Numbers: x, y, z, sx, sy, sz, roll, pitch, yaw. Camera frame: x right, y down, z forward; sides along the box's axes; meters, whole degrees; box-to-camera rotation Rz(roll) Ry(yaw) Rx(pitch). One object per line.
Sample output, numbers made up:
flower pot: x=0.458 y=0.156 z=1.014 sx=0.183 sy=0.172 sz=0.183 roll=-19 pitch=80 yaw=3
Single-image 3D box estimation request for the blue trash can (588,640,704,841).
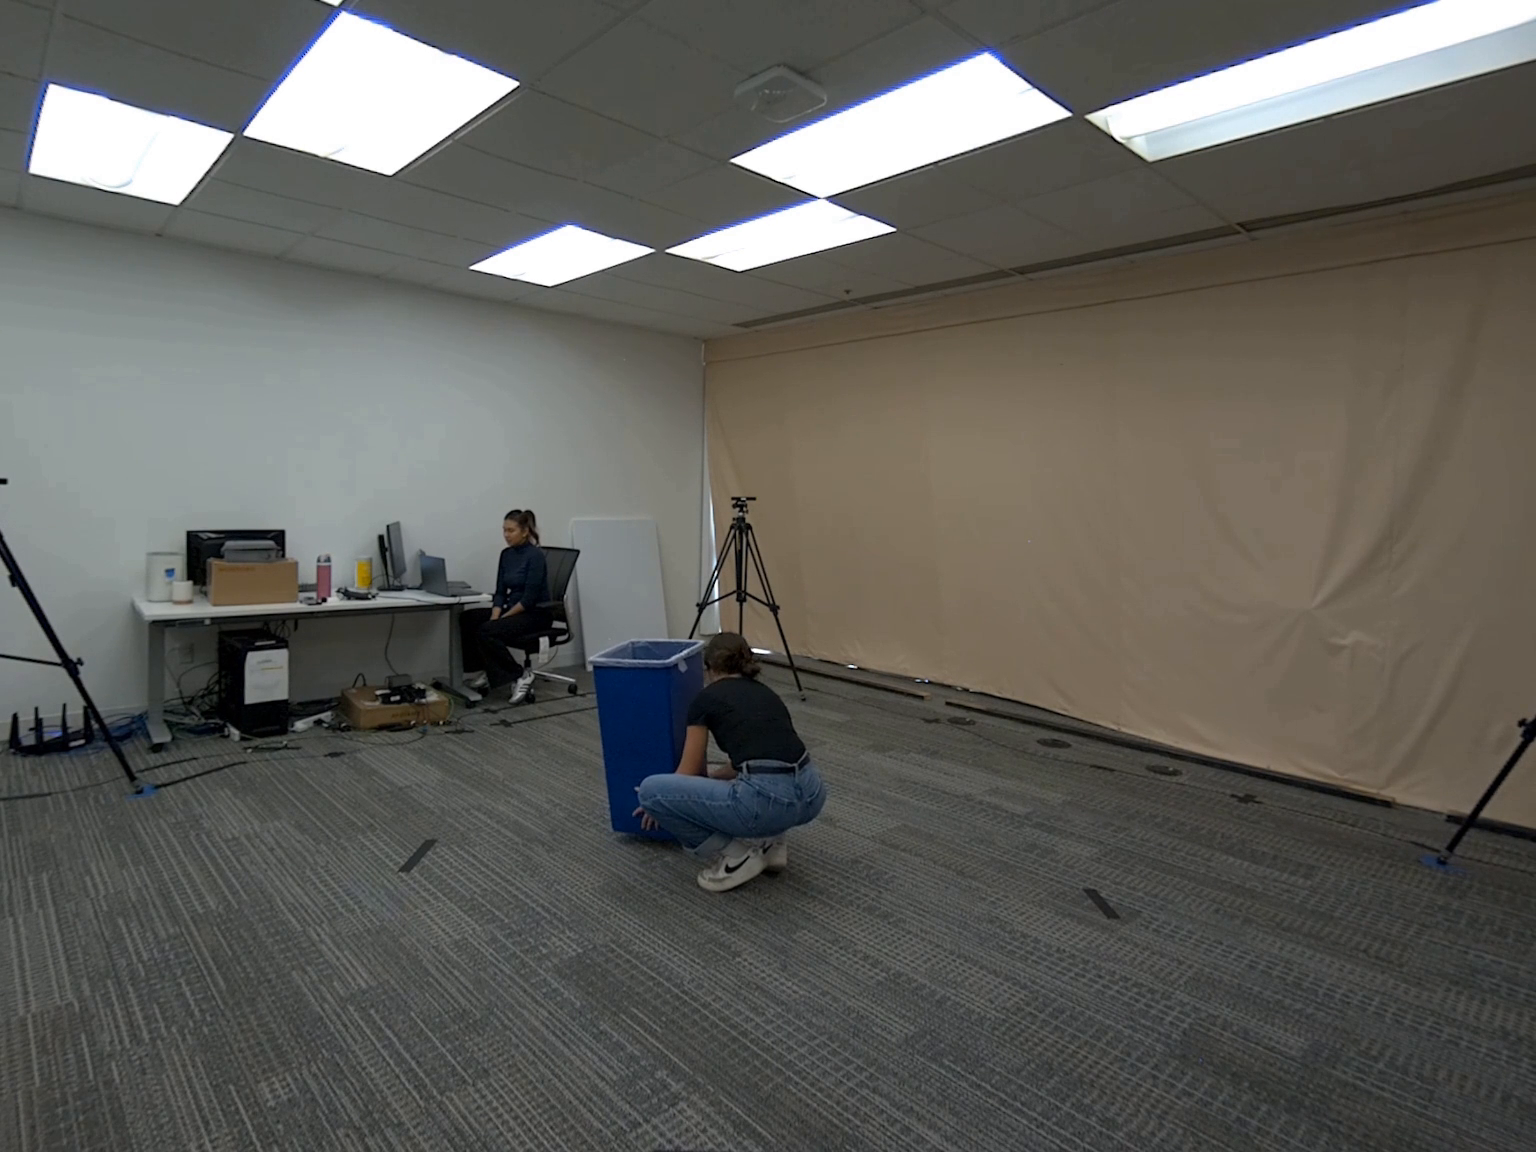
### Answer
blue trash can: x=-0.477 y=0.649 z=3.425 sx=0.380 sy=0.710 sz=0.374 roll=-1 pitch=7 yaw=21
